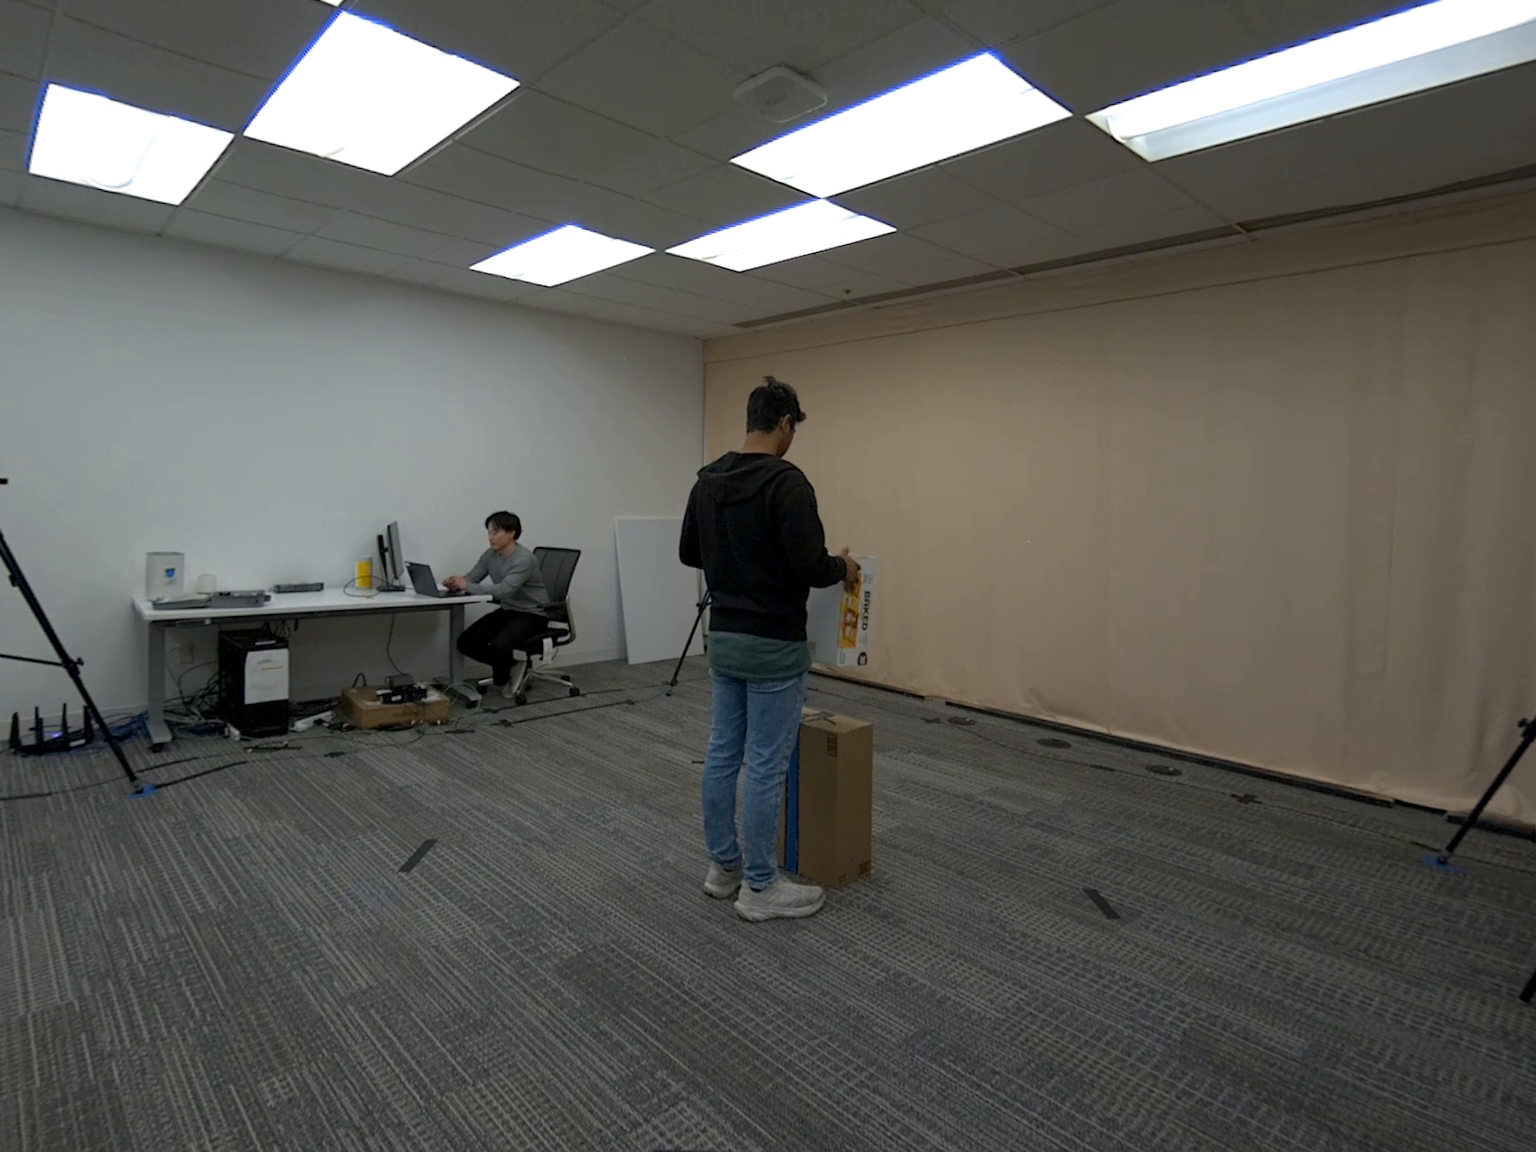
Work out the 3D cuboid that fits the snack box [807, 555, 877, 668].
[{"bbox_3d":[0.192,0.110,3.199,0.349,0.405,0.200,5,0,41],"label":"snack box"}]
